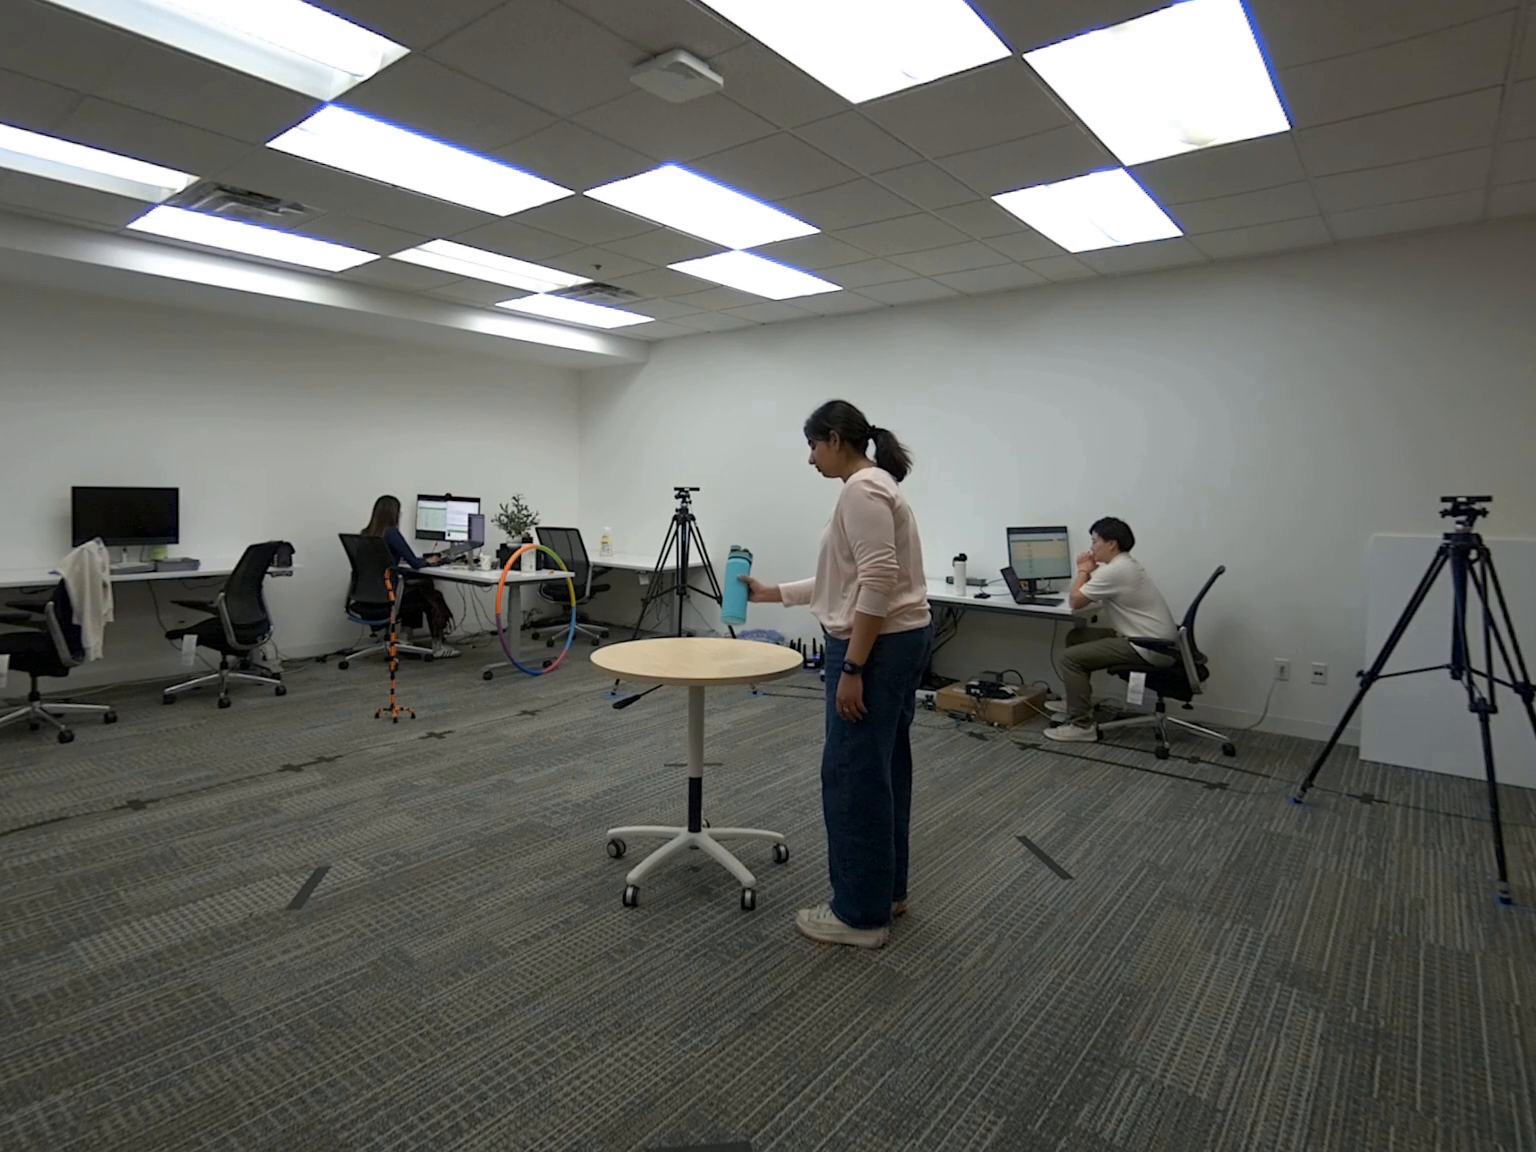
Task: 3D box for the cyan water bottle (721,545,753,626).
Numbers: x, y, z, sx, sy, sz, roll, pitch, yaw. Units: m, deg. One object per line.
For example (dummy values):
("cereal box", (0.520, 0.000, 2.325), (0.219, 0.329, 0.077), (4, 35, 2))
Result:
("cyan water bottle", (-0.117, 0.030, 3.036), (0.092, 0.287, 0.091), (6, -17, 0))
